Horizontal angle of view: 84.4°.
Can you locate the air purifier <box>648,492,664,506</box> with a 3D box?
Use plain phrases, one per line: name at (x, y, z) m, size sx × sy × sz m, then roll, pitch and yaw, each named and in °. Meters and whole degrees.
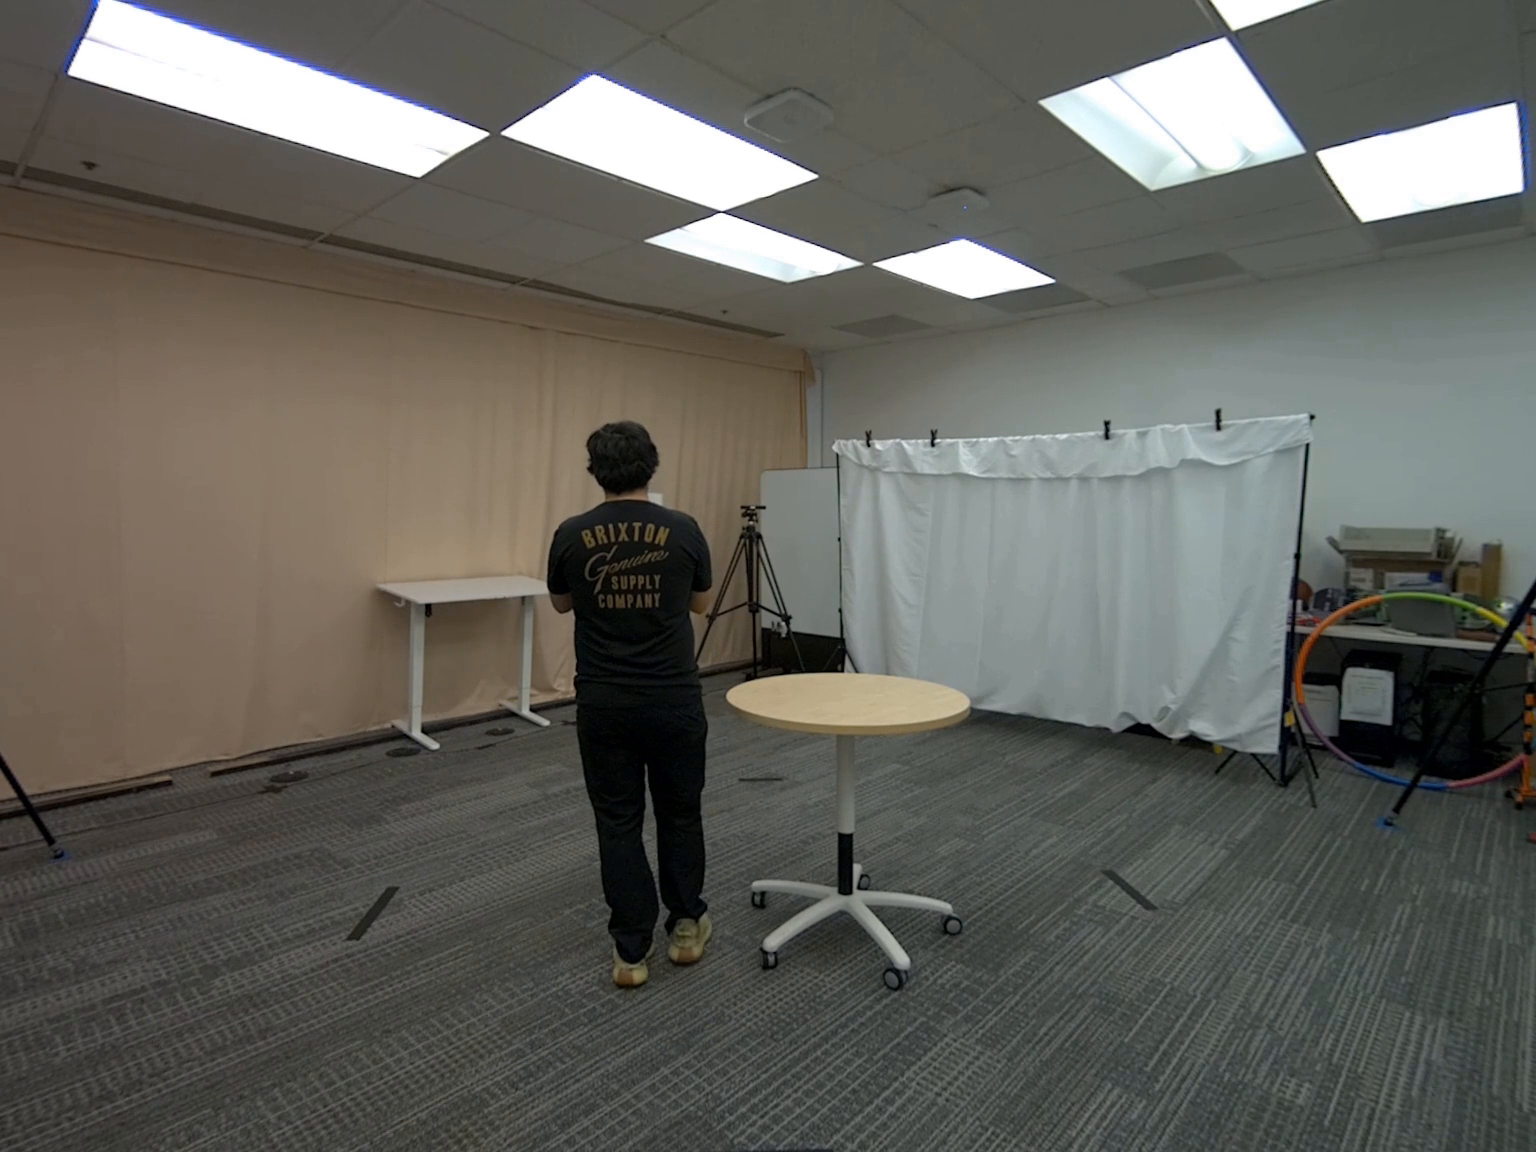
air purifier at (-0.461, -0.164, 2.910) m, size 0.171 × 0.264 × 0.172 m, roll 1°, pitch 5°, yaw -6°
